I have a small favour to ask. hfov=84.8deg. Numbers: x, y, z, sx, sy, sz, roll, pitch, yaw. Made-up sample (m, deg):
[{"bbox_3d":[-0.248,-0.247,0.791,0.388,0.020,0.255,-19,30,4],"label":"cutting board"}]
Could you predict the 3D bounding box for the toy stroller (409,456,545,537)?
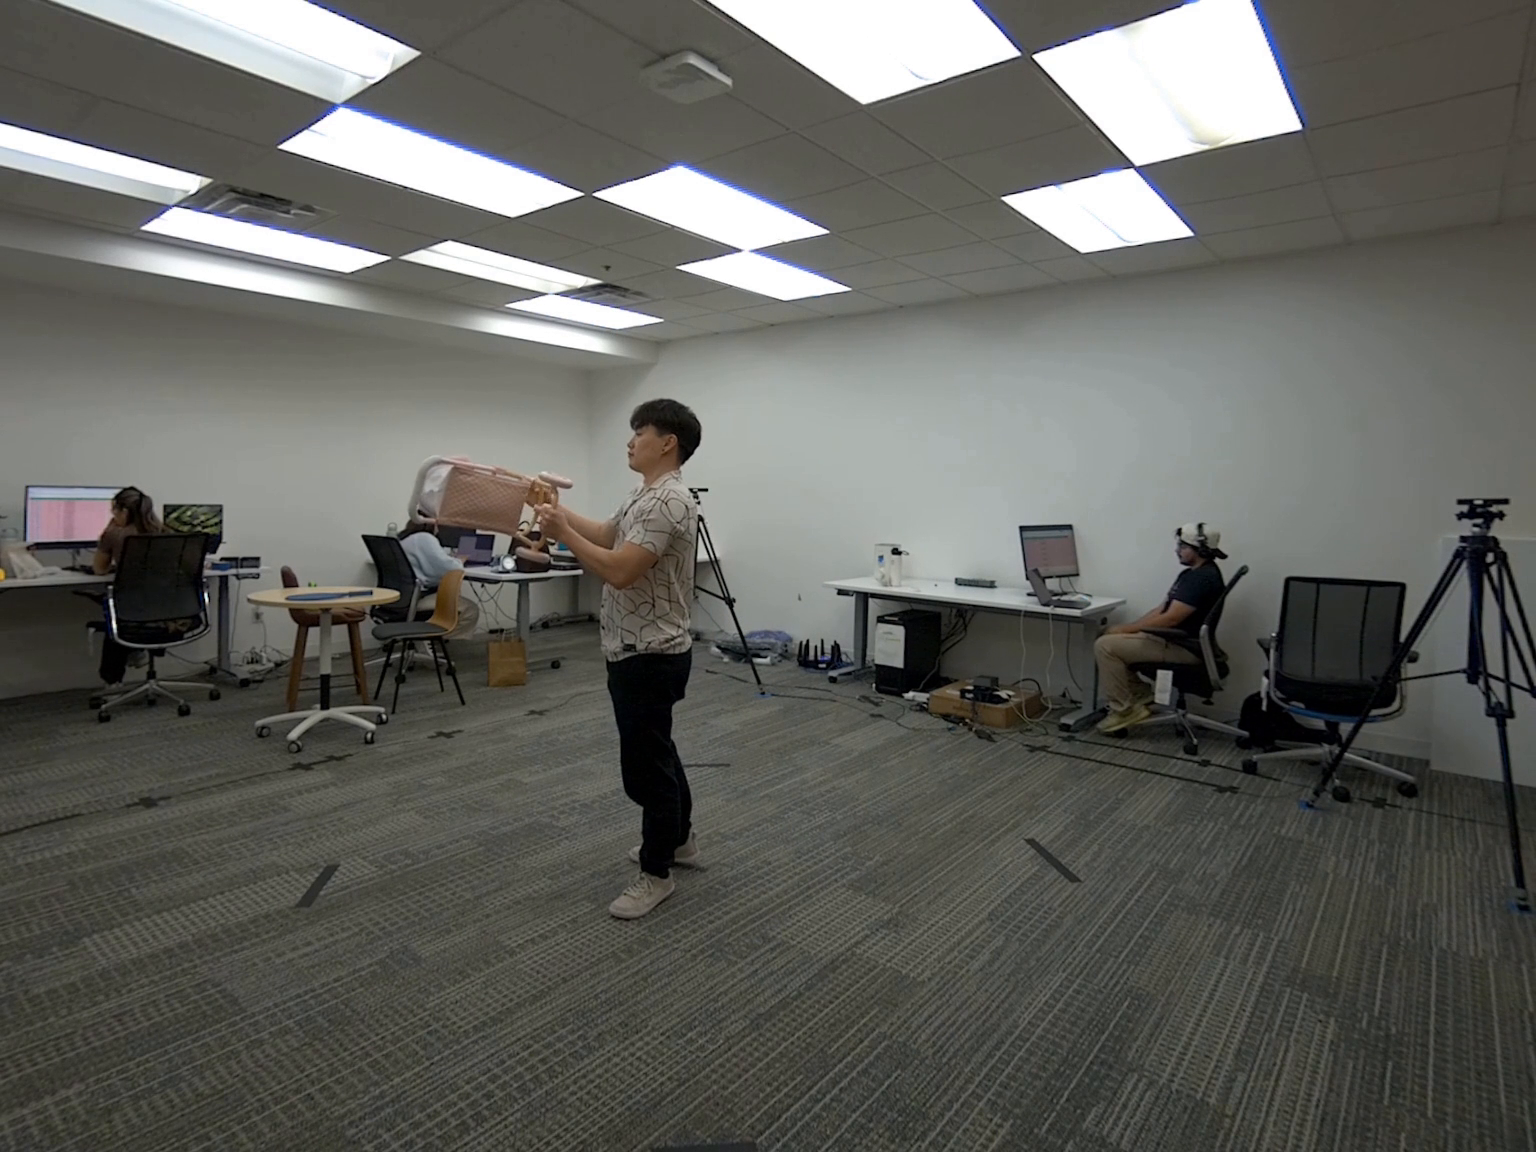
[{"bbox_3d":[-0.894,-0.242,2.726,0.519,0.280,0.353,13,9,-27],"label":"toy stroller"}]
